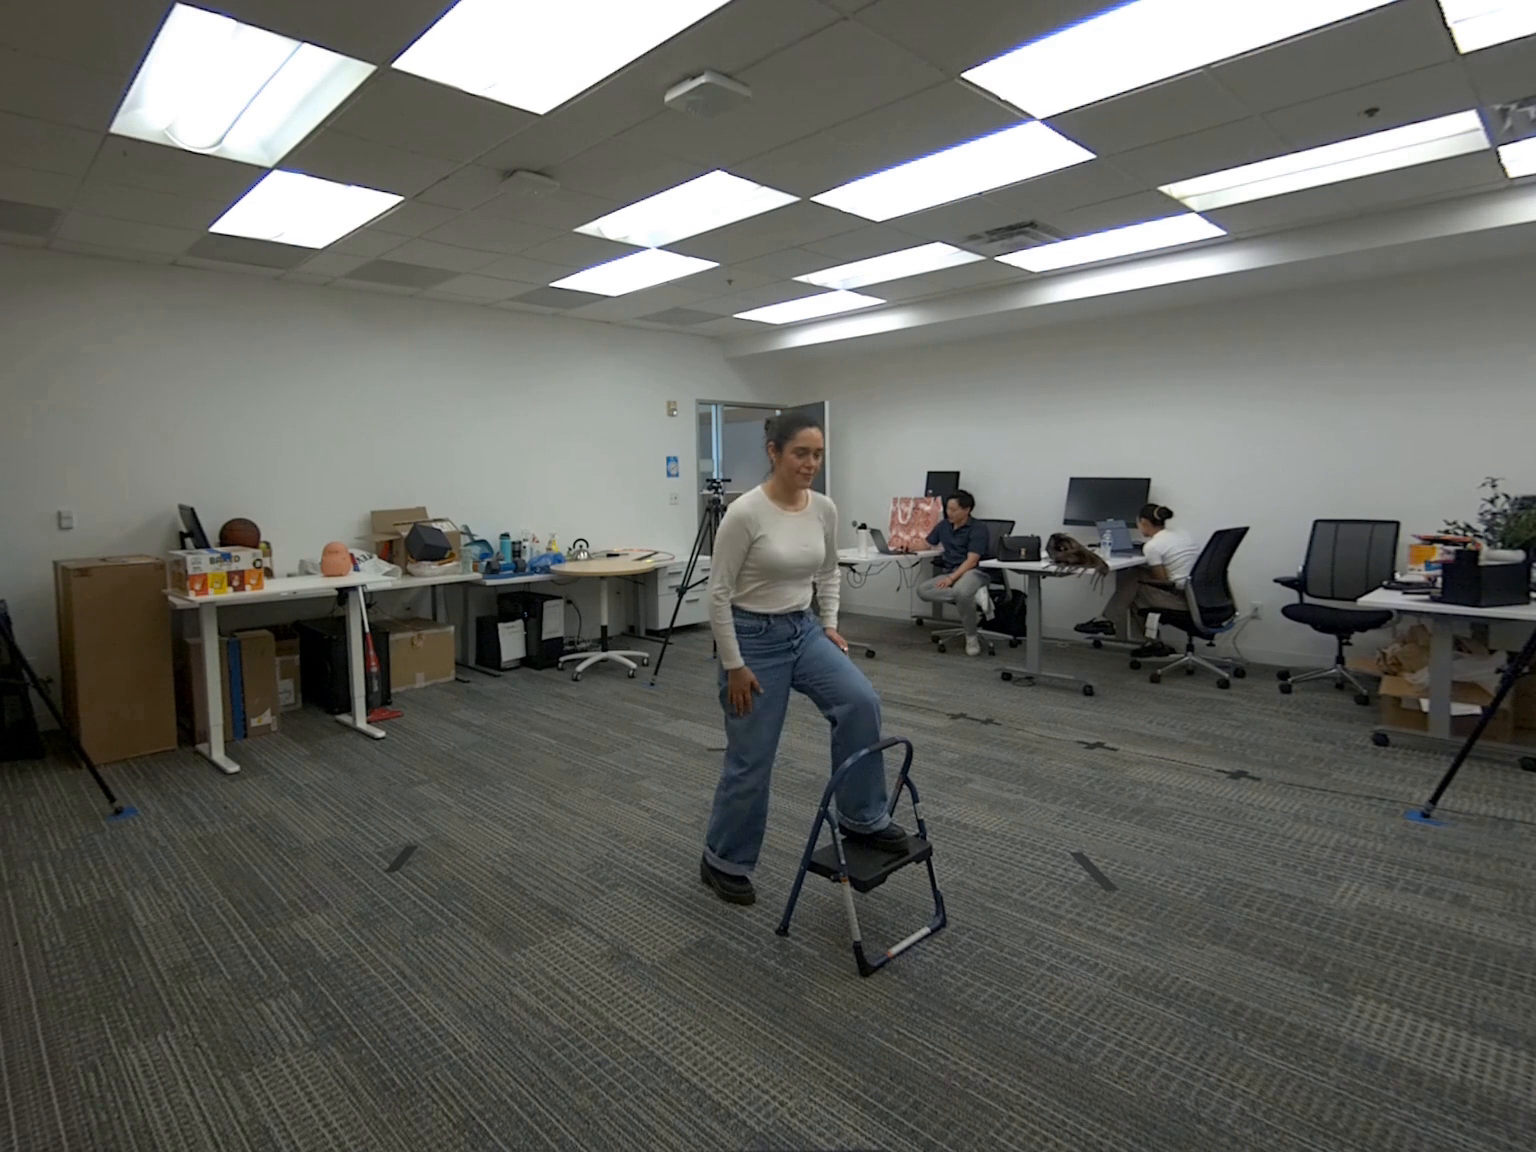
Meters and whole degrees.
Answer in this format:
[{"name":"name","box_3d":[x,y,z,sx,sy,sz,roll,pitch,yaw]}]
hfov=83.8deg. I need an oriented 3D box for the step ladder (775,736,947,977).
[{"name":"step ladder","box_3d":[0.291,0.793,2.622,0.360,0.604,0.419,3,7,45]}]
